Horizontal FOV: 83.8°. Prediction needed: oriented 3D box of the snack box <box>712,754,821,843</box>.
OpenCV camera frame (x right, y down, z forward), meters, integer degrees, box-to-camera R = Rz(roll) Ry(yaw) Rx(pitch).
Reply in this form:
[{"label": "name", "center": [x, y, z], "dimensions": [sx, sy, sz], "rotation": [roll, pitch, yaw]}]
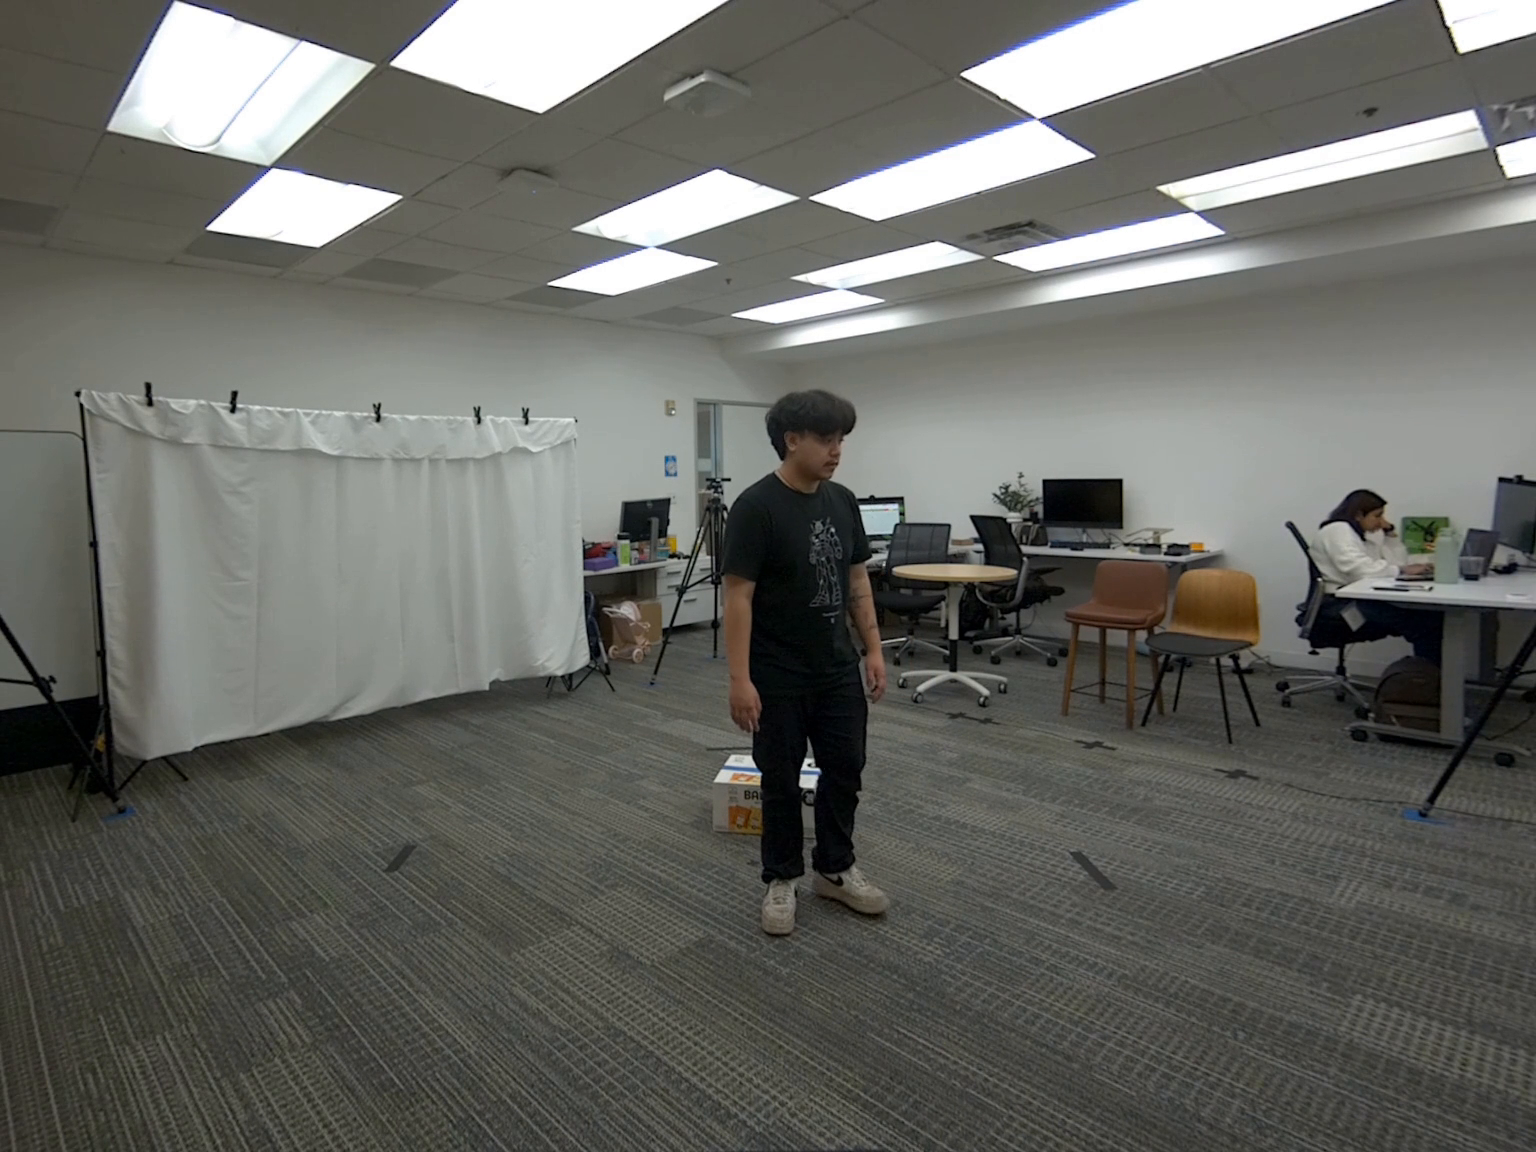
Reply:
[{"label": "snack box", "center": [0.010, 0.894, 3.498], "dimensions": [0.410, 0.205, 0.338], "rotation": [0, 6, 11]}]
